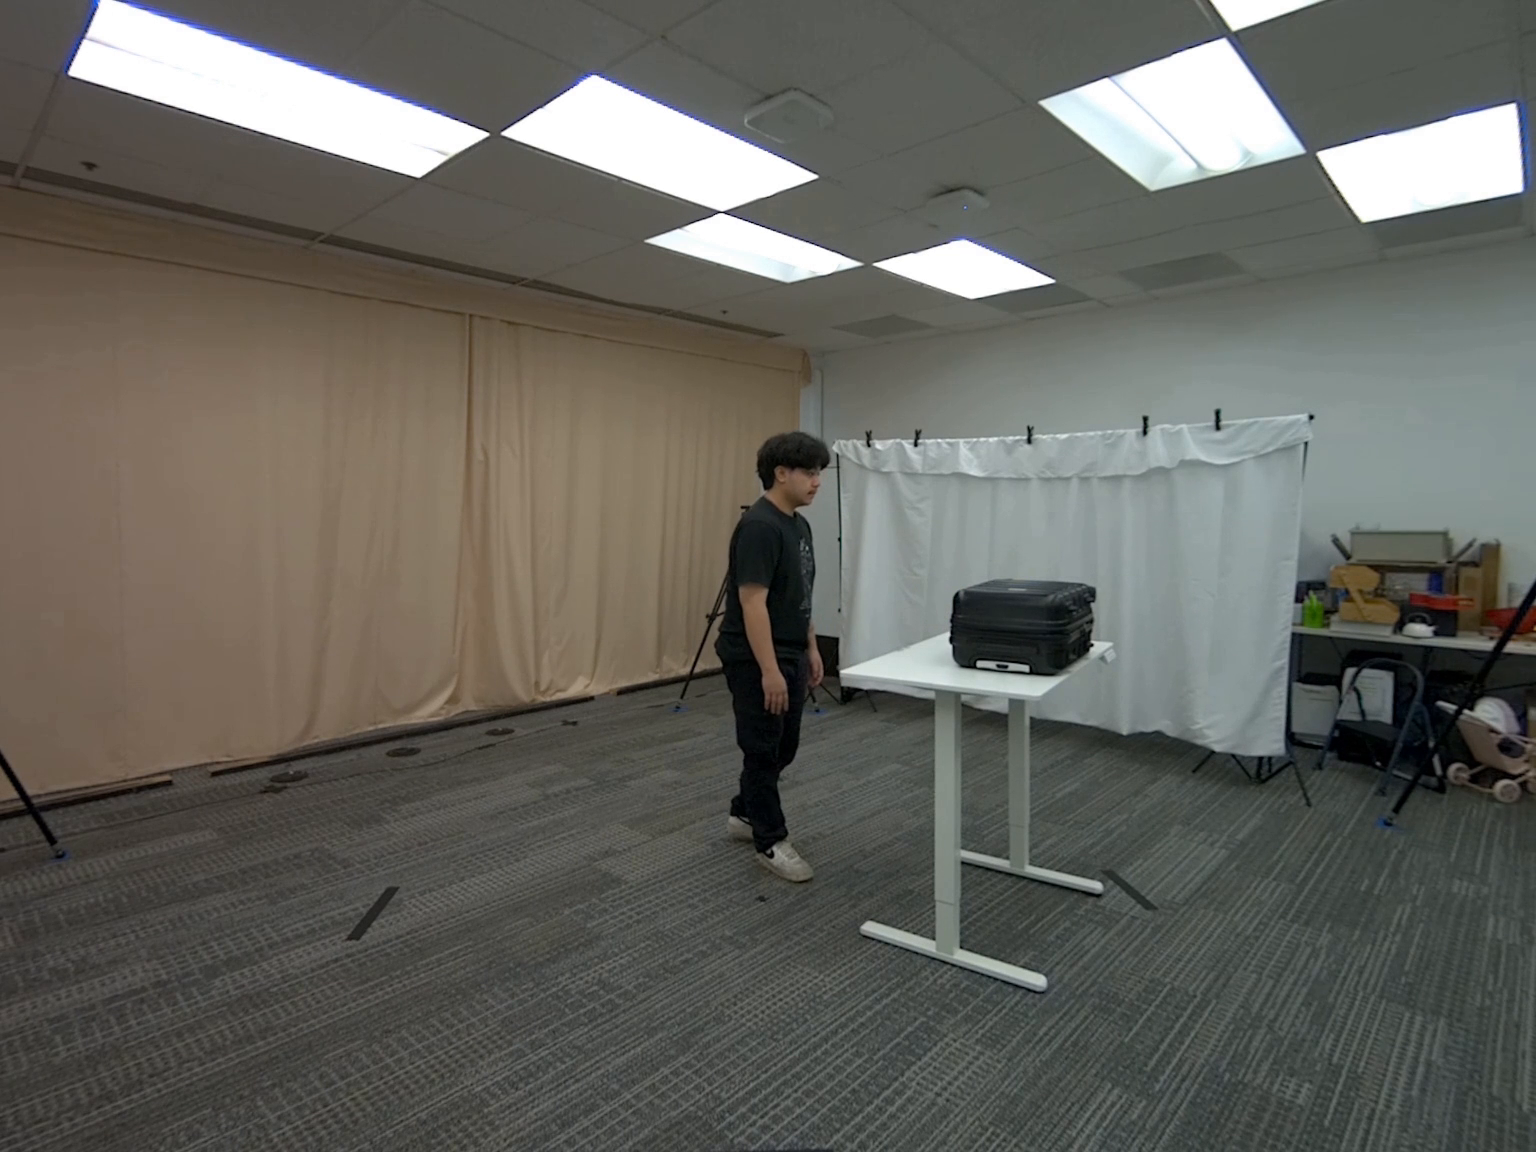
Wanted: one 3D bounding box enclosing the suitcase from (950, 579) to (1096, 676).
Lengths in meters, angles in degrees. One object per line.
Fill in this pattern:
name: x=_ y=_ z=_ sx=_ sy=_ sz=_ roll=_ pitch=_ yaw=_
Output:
suitcase: x=0.843 y=0.159 z=2.759 sx=0.387 sy=0.247 sz=0.534 roll=4 pitch=6 yaw=33
